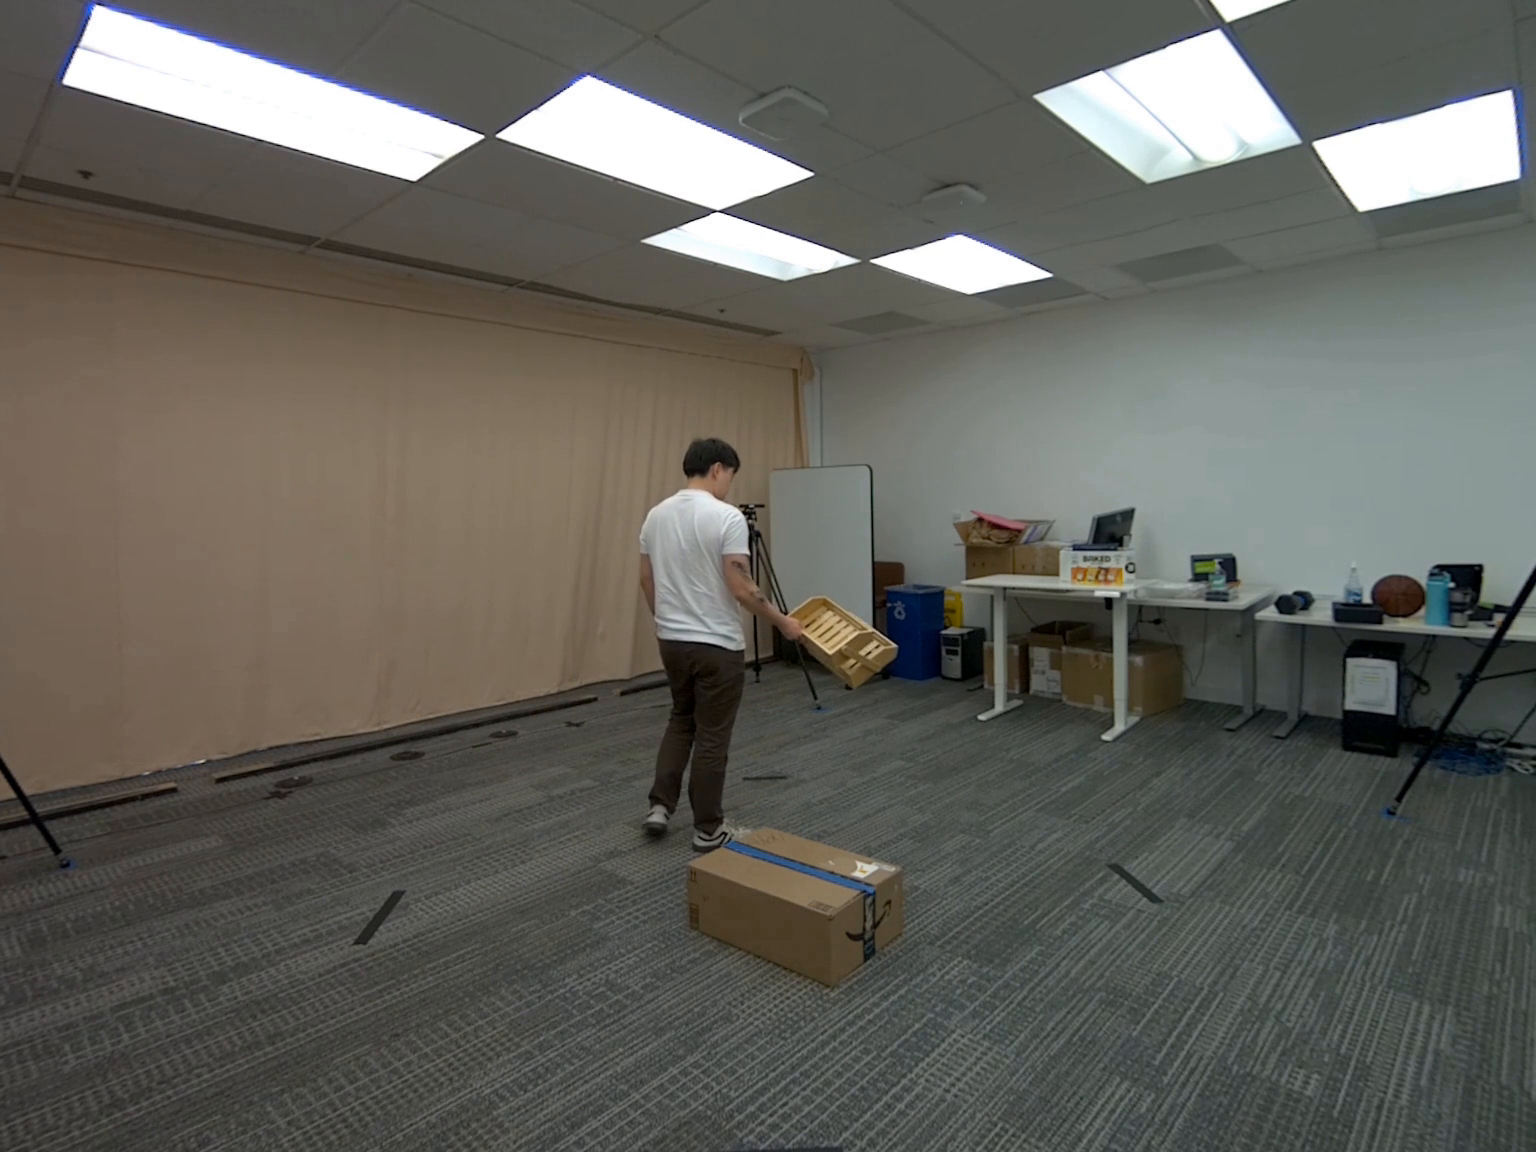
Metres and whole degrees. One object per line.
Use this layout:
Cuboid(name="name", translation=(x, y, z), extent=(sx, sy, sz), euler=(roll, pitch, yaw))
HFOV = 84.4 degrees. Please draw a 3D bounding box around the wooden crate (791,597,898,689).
Cuboid(name="wooden crate", translation=(0.297, 0.244, 3.425), extent=(0.299, 0.265, 0.336), euler=(-35, 42, -16))
